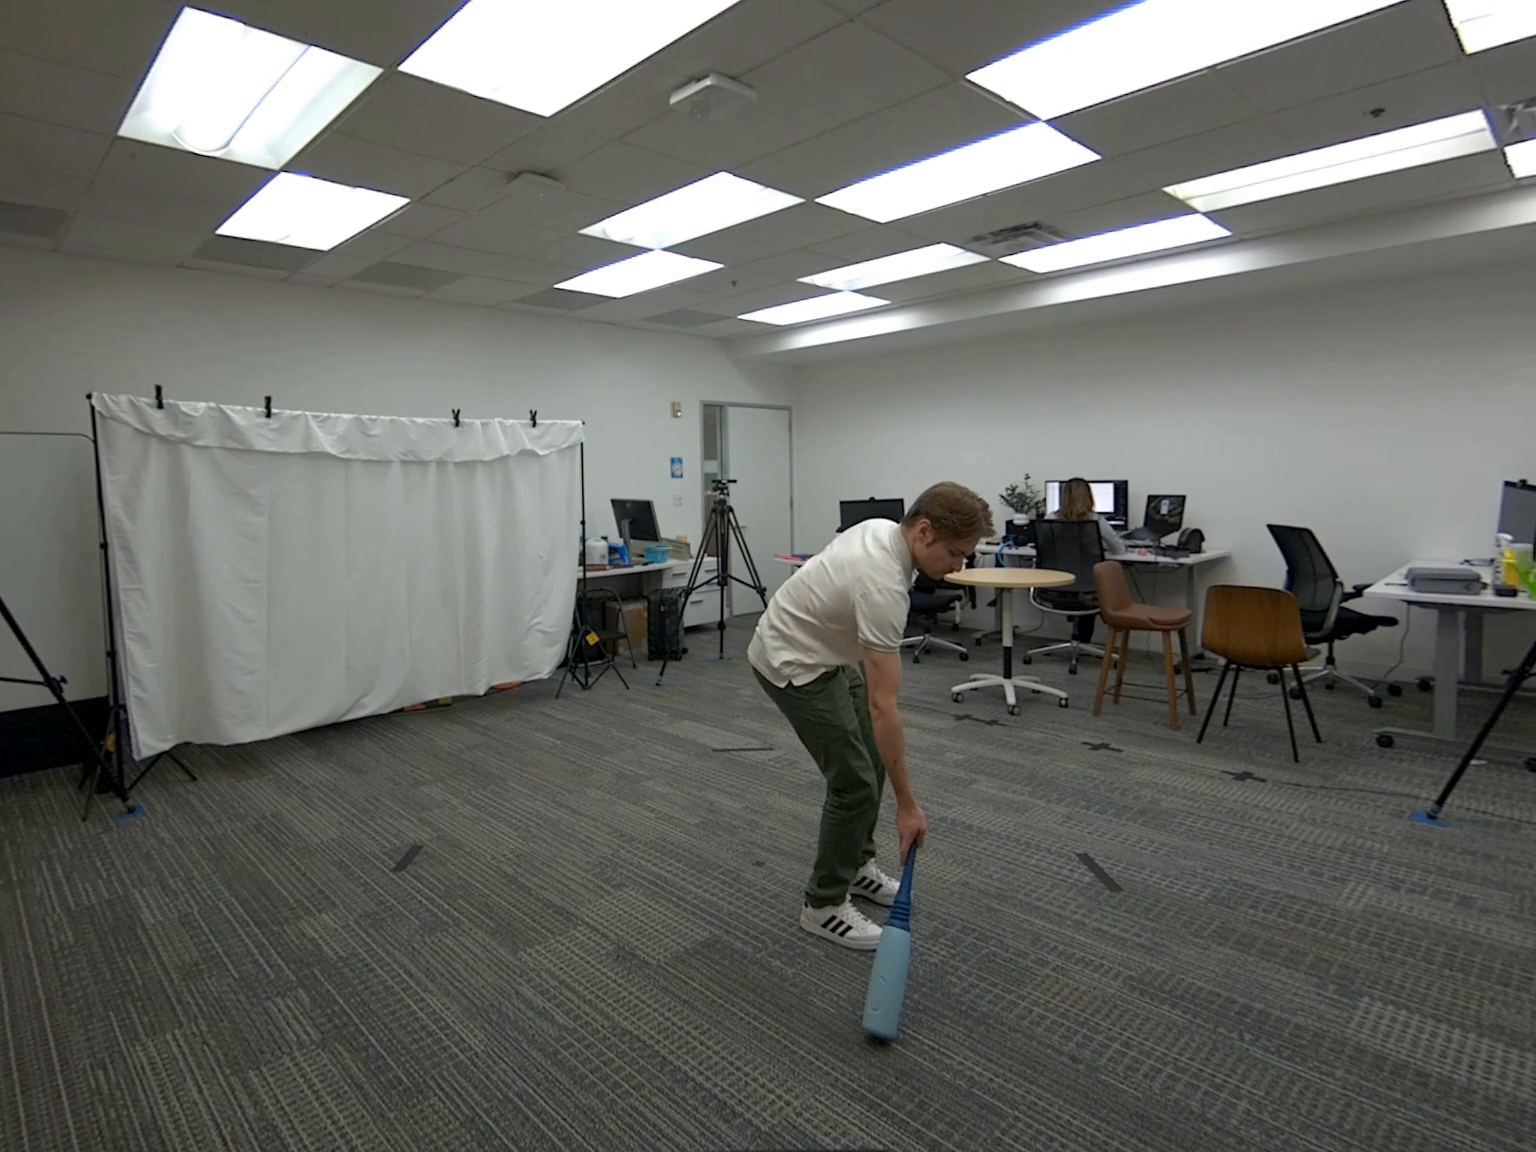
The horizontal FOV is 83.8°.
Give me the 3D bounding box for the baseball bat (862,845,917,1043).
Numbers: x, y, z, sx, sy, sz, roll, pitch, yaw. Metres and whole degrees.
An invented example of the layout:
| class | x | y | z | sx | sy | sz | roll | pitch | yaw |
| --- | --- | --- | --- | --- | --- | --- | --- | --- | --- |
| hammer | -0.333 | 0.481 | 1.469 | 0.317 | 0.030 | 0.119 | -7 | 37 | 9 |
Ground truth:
| class | x | y | z | sx | sy | sz | roll | pitch | yaw |
| --- | --- | --- | --- | --- | --- | --- | --- | --- | --- |
| baseball bat | 0.349 | 0.912 | 2.233 | 0.090 | 0.551 | 0.087 | 13 | -28 | 5 |
